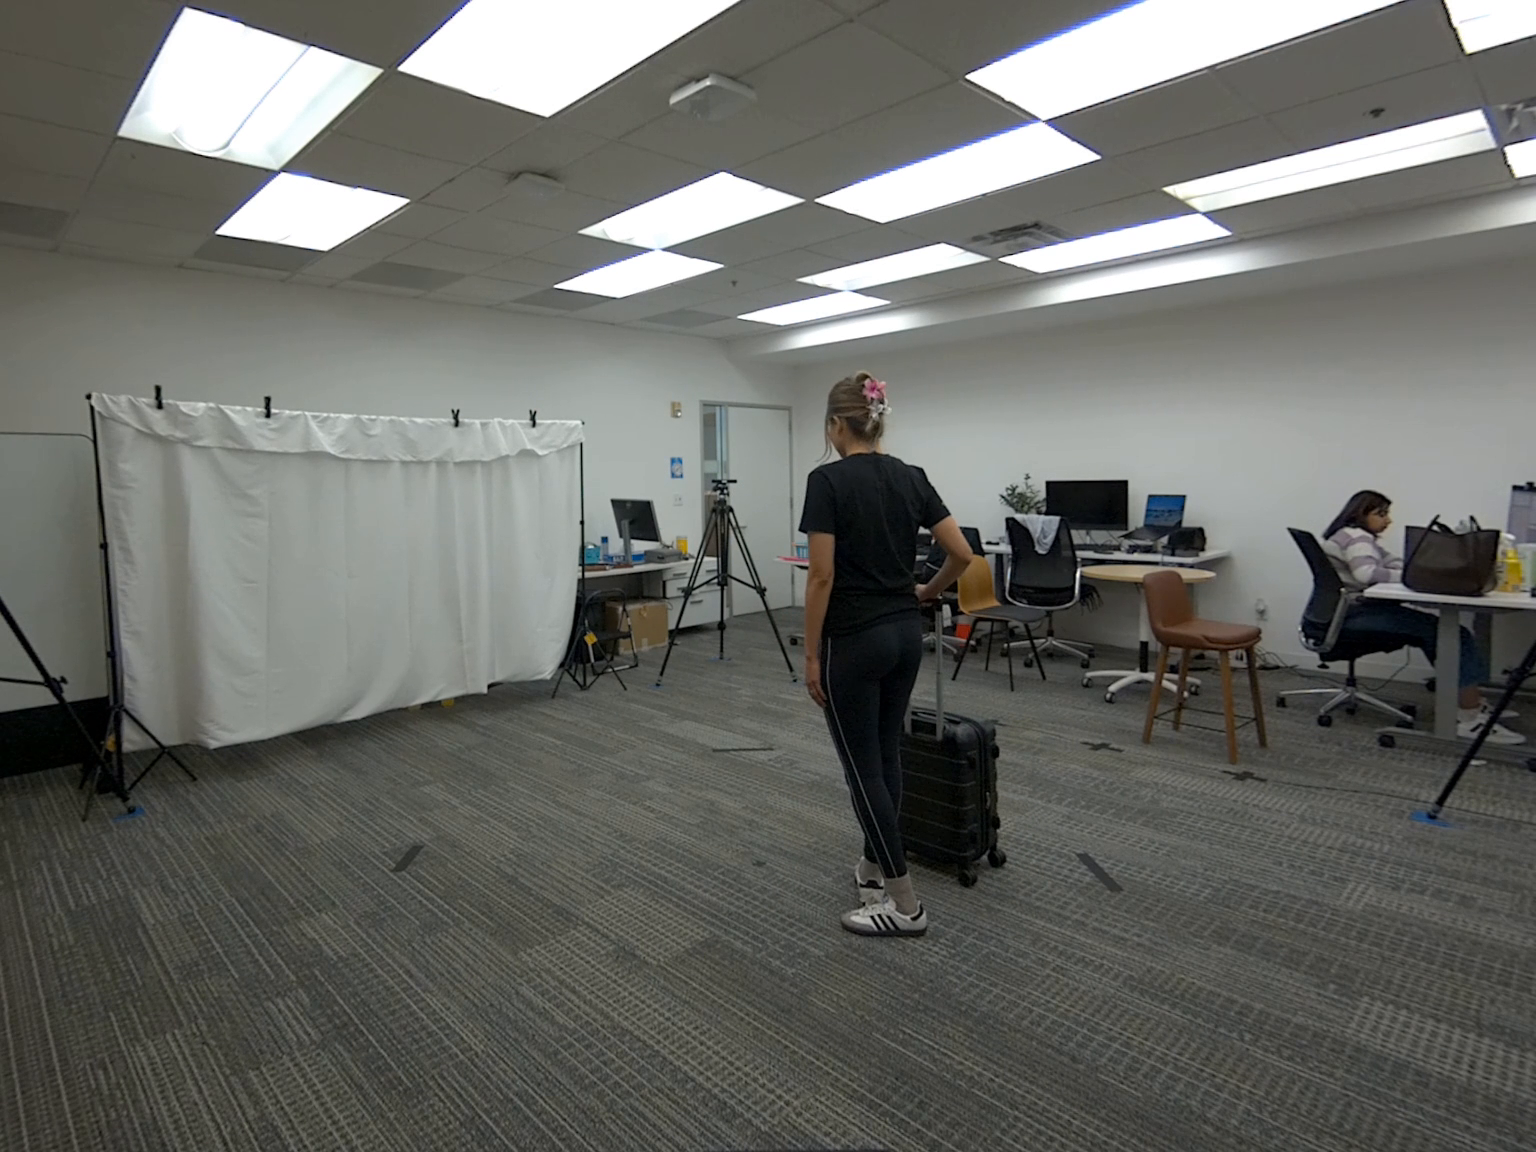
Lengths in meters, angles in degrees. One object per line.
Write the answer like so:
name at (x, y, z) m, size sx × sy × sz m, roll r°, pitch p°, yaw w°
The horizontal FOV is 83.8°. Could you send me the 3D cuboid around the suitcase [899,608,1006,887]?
suitcase at (0.638, 0.562, 3.093) m, size 0.250 × 0.976 × 0.395 m, roll -3°, pitch 4°, yaw -42°
